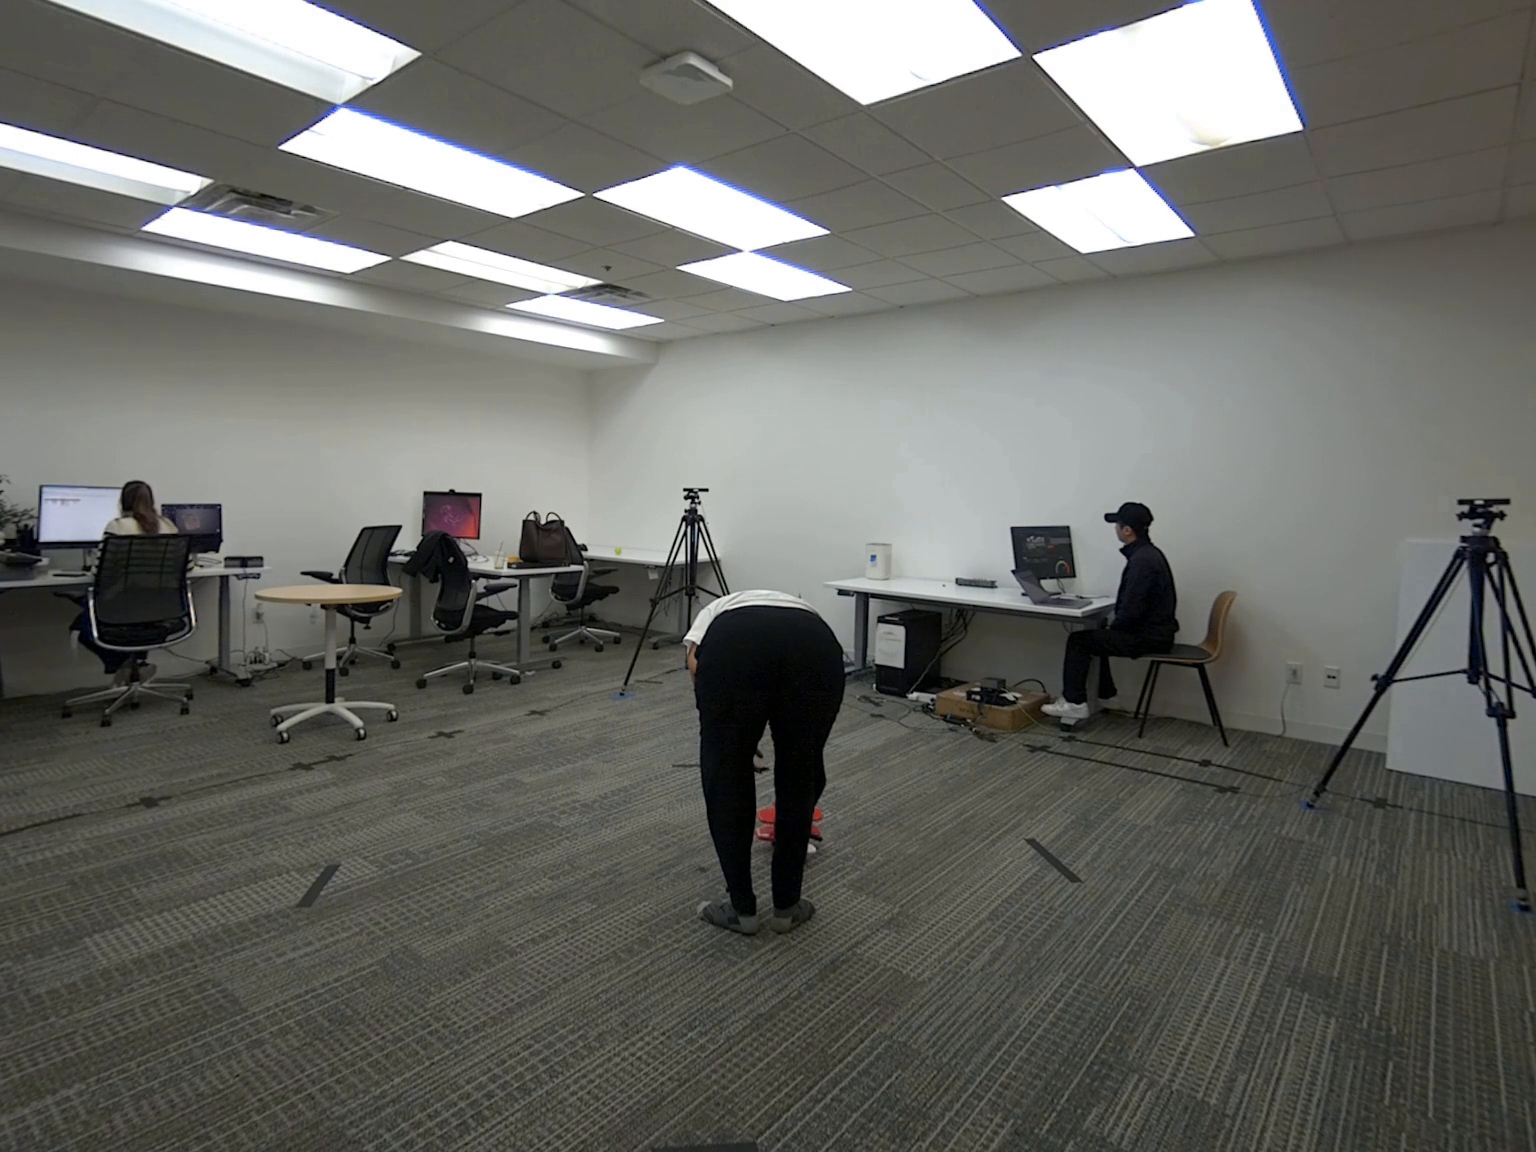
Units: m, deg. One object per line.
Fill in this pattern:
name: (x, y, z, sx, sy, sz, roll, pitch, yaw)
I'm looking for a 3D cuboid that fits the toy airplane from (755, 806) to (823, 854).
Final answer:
toy airplane: (0.095, 0.981, 3.265, 0.243, 0.156, 0.268, 0, 4, -39)
